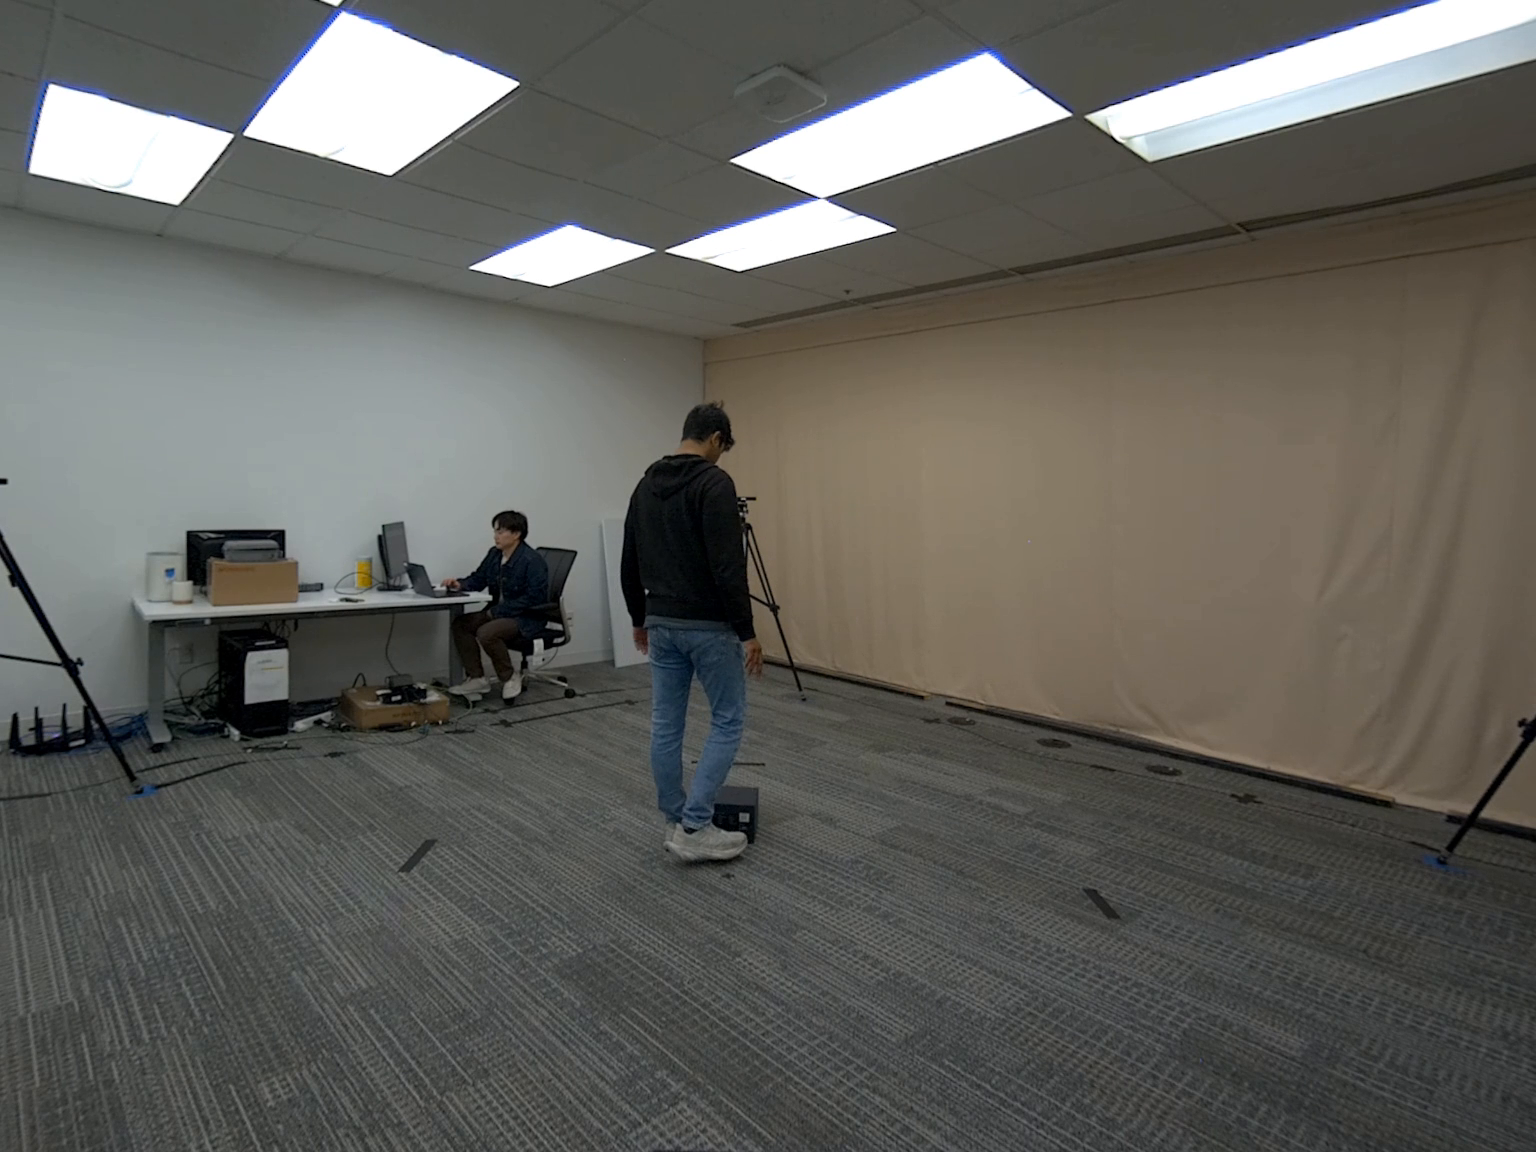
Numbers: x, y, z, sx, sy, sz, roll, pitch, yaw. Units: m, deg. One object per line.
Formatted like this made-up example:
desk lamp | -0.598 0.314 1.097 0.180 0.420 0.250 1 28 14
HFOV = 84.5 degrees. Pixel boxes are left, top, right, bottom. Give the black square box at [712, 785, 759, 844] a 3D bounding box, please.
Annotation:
black square box | -0.156 0.988 3.504 0.218 0.155 0.228 1 4 3
